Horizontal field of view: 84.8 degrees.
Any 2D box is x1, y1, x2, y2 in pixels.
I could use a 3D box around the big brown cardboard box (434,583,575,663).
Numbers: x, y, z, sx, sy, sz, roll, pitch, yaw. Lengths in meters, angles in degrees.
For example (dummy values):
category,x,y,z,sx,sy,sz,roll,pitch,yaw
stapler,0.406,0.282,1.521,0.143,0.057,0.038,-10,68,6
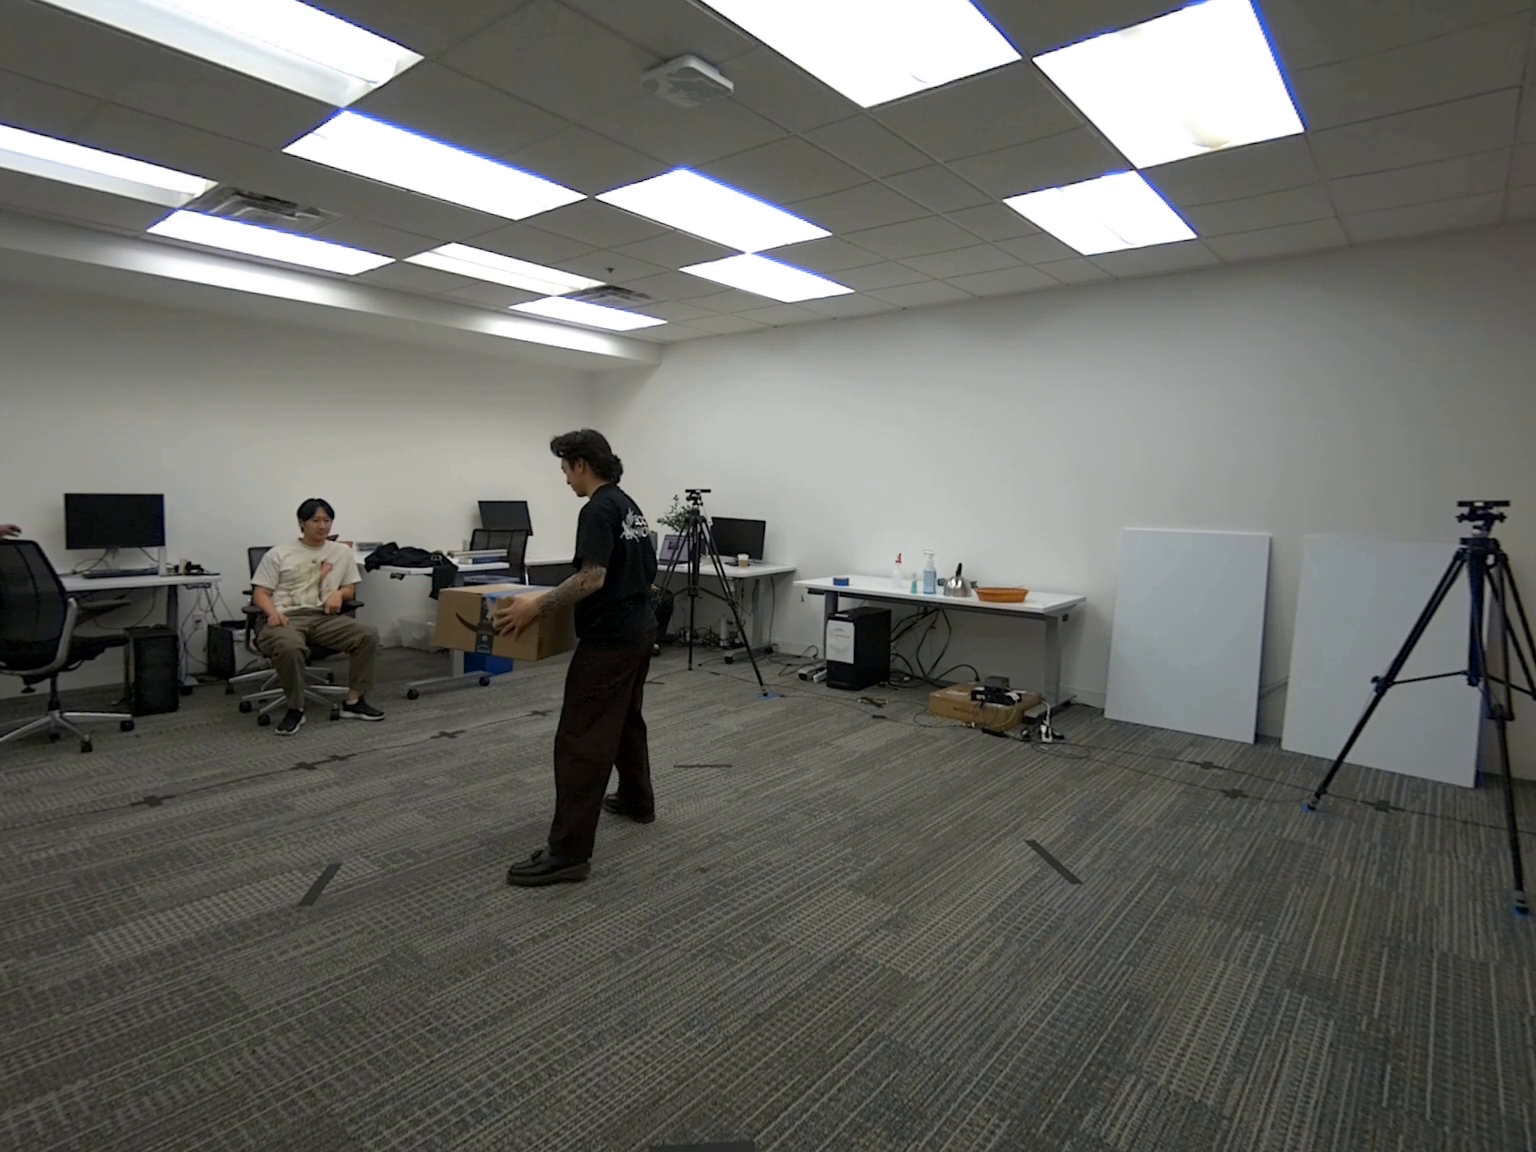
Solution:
category,x,y,z,sx,sy,sz,roll,pitch,yaw
big brown cardboard box,-0.998,0.162,3.380,0.423,0.232,0.583,6,4,9
